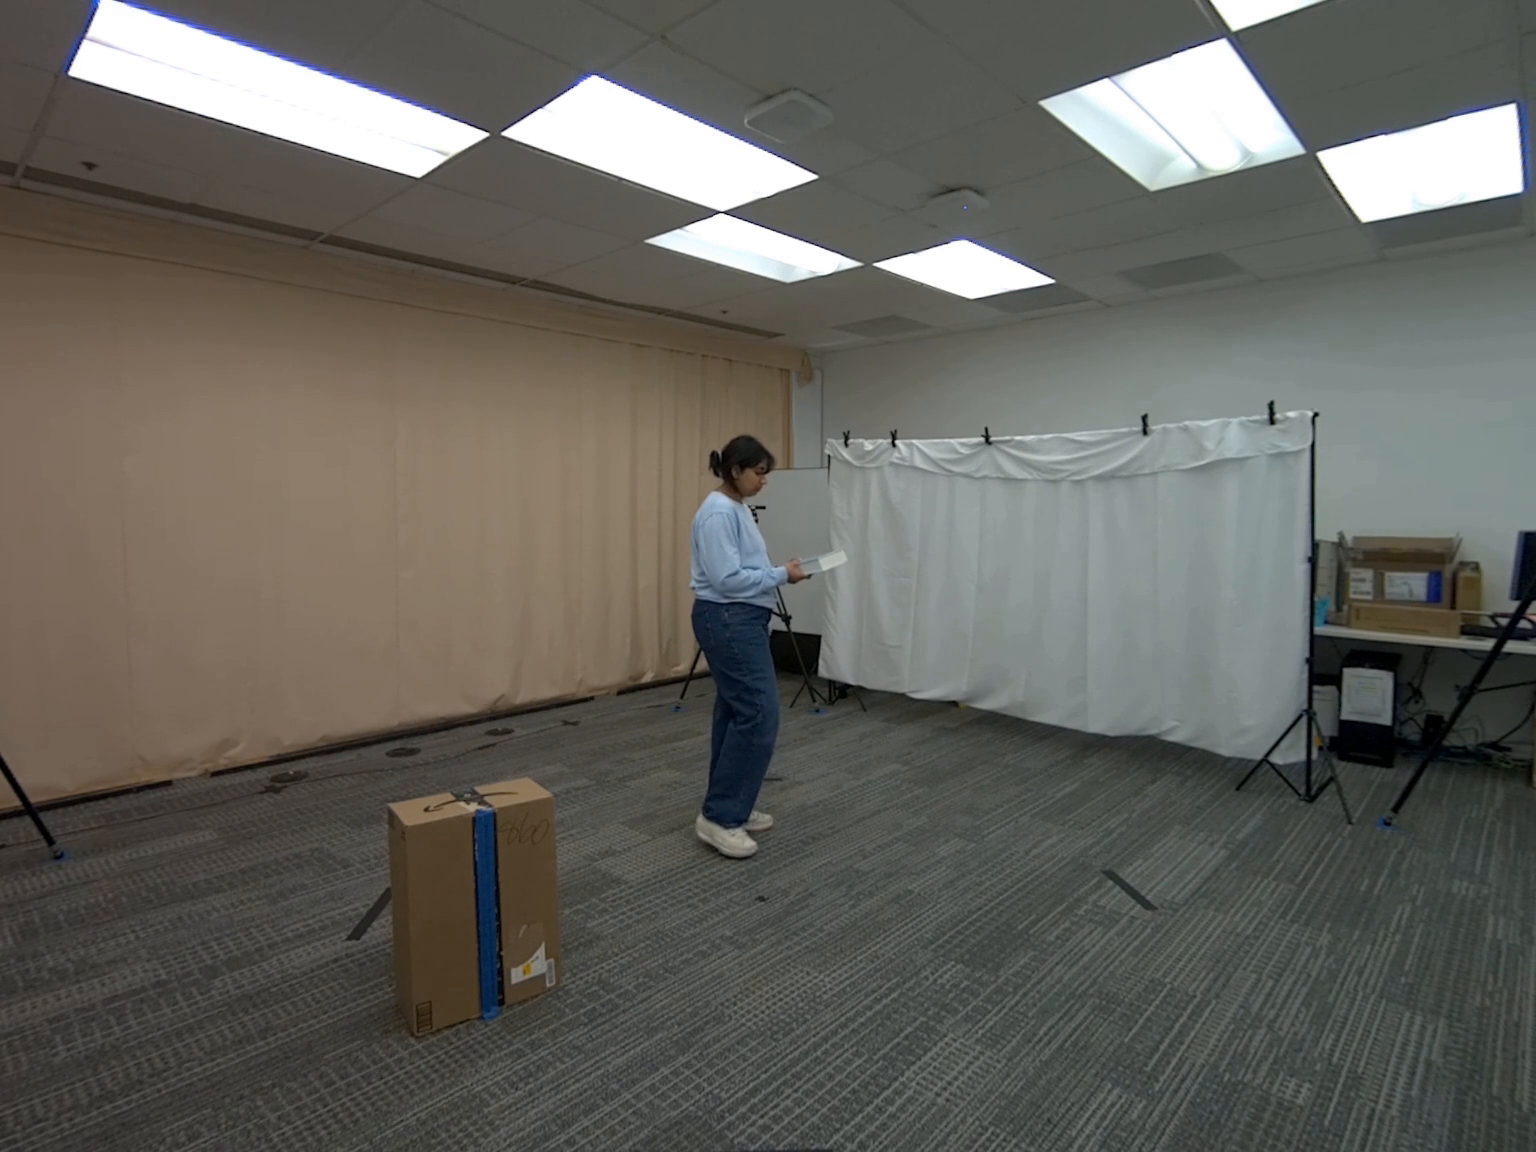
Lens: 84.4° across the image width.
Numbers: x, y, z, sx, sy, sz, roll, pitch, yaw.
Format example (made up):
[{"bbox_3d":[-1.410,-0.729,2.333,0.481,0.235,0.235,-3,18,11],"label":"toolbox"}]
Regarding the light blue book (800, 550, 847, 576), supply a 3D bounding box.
[{"bbox_3d":[0.185,-0.047,3.530,0.268,0.059,0.187,-13,5,43],"label":"light blue book"}]
